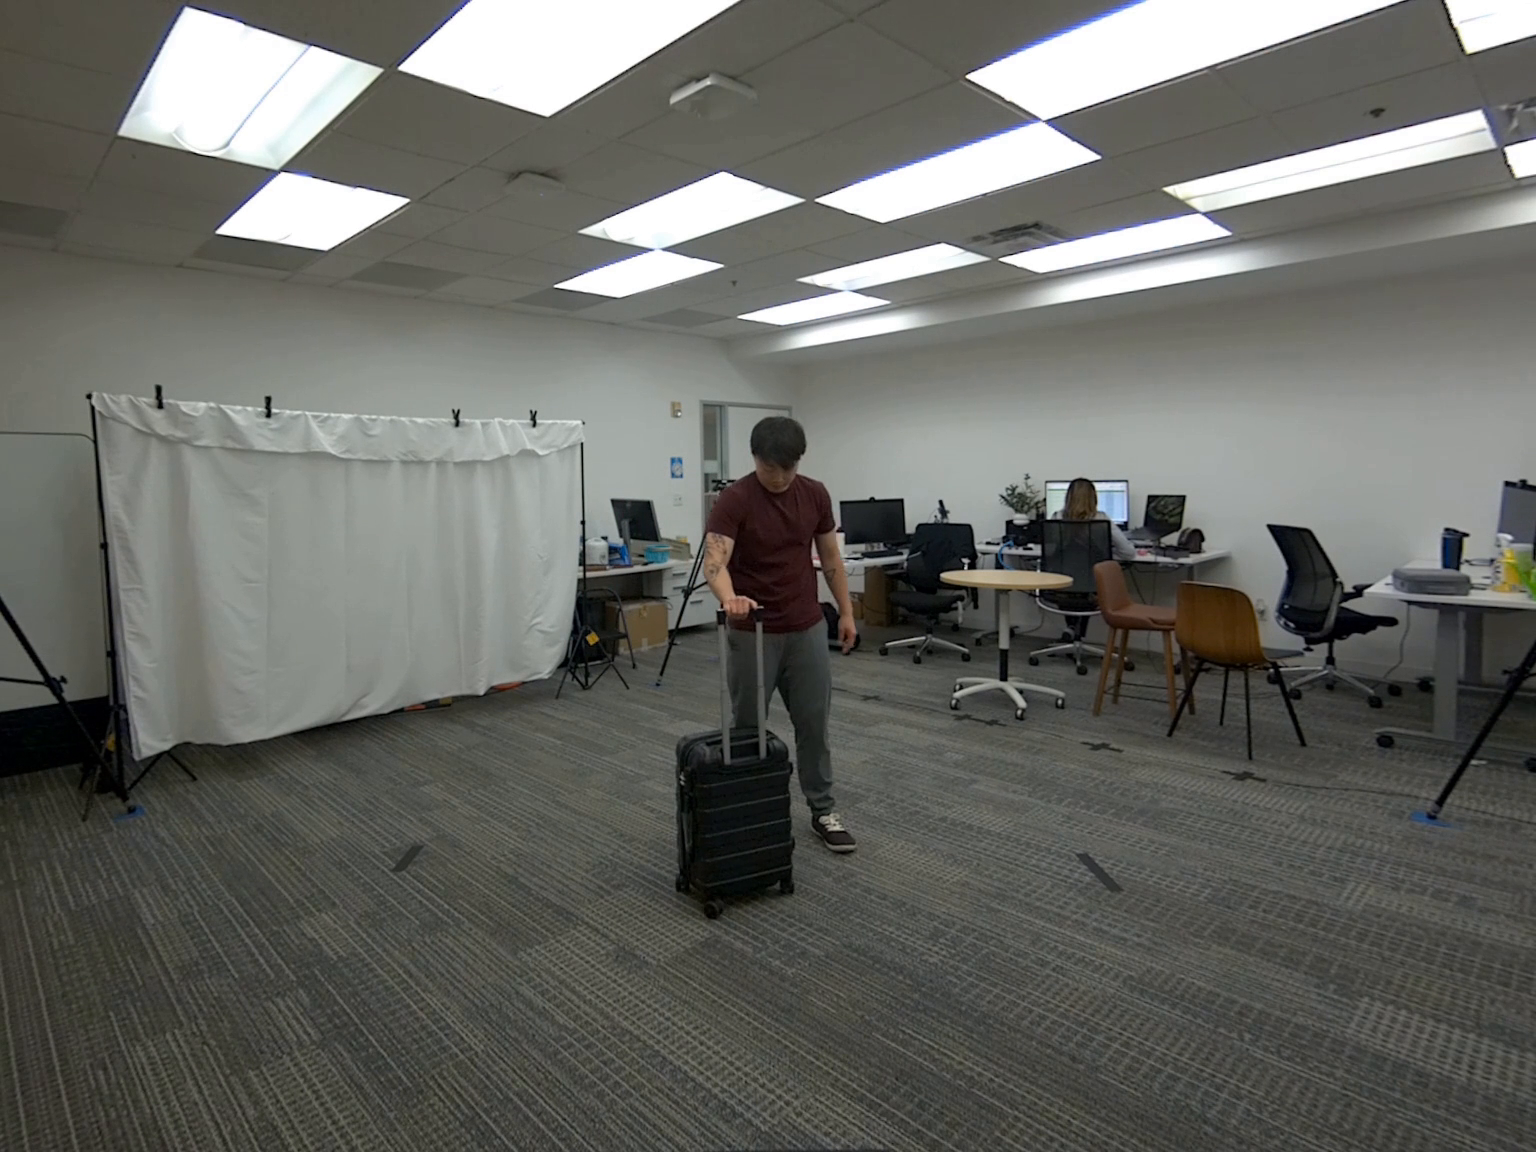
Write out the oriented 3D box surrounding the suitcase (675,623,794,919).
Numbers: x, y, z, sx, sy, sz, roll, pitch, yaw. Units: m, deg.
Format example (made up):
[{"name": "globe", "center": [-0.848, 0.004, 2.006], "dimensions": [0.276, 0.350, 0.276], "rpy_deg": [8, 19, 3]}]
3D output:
[{"name": "suitcase", "center": [-0.129, 0.596, 2.882], "dimensions": [0.376, 0.976, 0.263], "rpy_deg": [-3, 2, -24]}]
